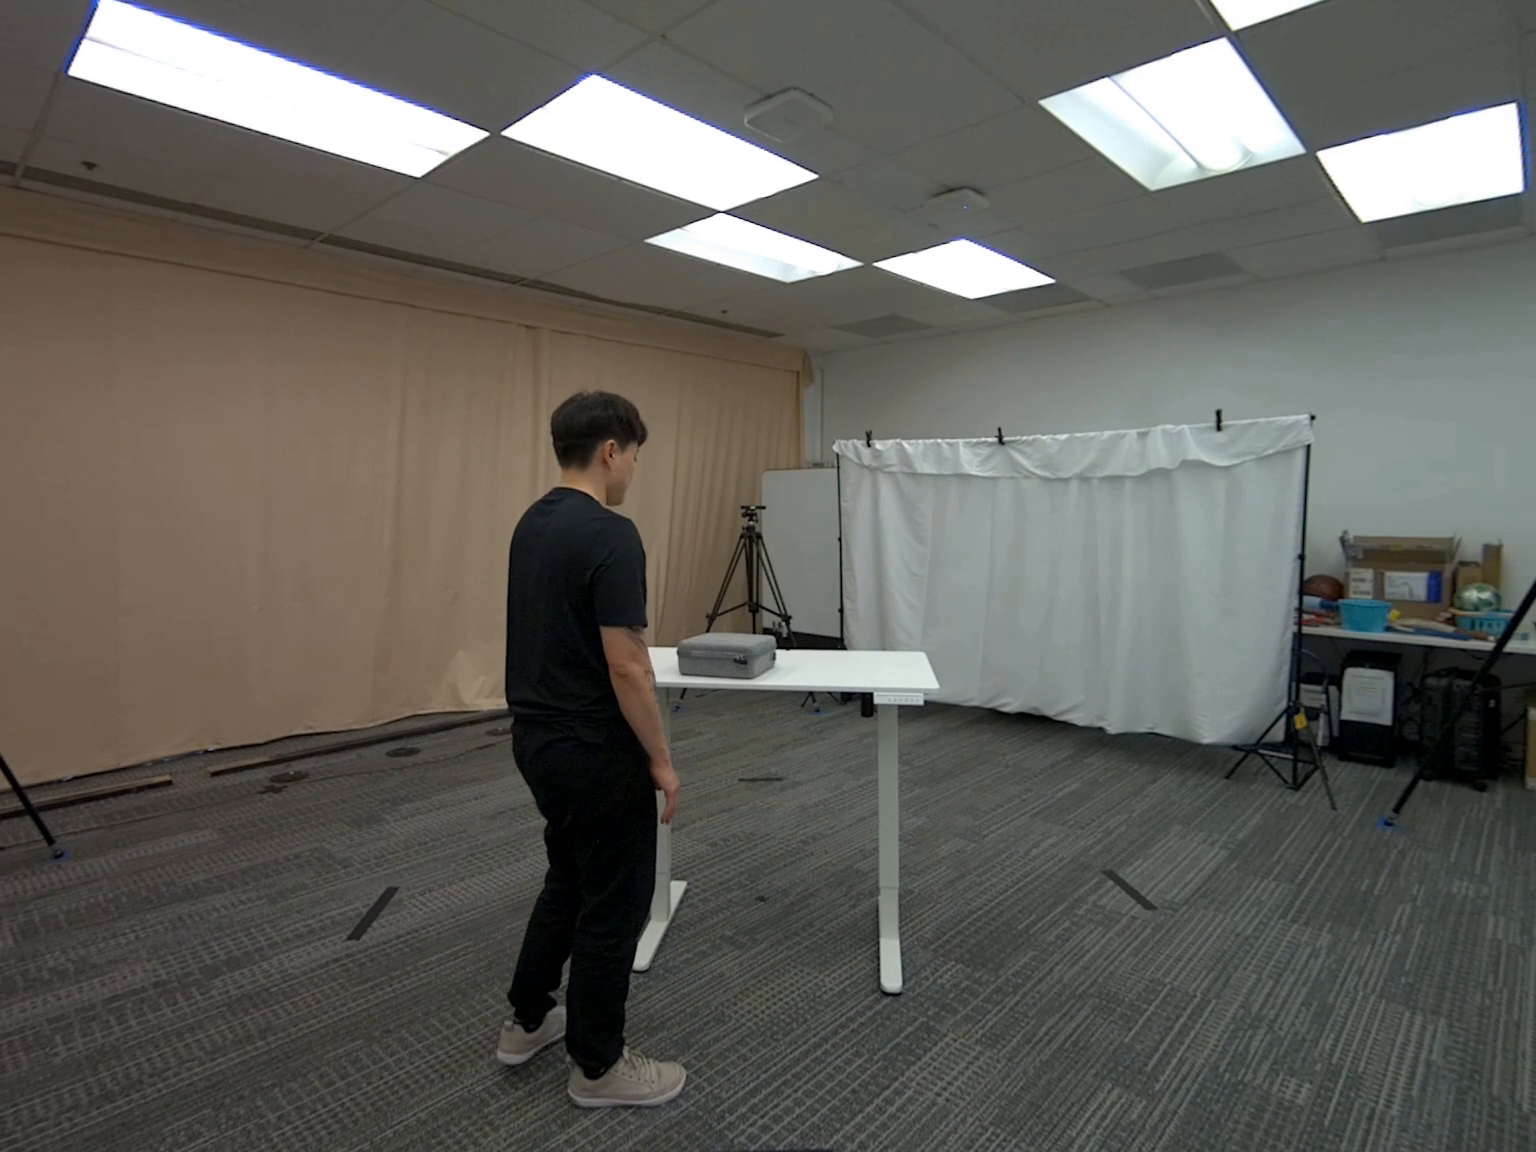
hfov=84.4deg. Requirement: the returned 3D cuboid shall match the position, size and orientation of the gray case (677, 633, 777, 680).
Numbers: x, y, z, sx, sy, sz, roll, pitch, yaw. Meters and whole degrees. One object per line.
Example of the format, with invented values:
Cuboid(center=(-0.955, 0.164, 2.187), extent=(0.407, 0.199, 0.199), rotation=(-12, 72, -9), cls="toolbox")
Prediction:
Cuboid(center=(-0.120, 0.240, 2.609), extent=(0.262, 0.104, 0.256), rotation=(0, 3, 19), cls="gray case")
